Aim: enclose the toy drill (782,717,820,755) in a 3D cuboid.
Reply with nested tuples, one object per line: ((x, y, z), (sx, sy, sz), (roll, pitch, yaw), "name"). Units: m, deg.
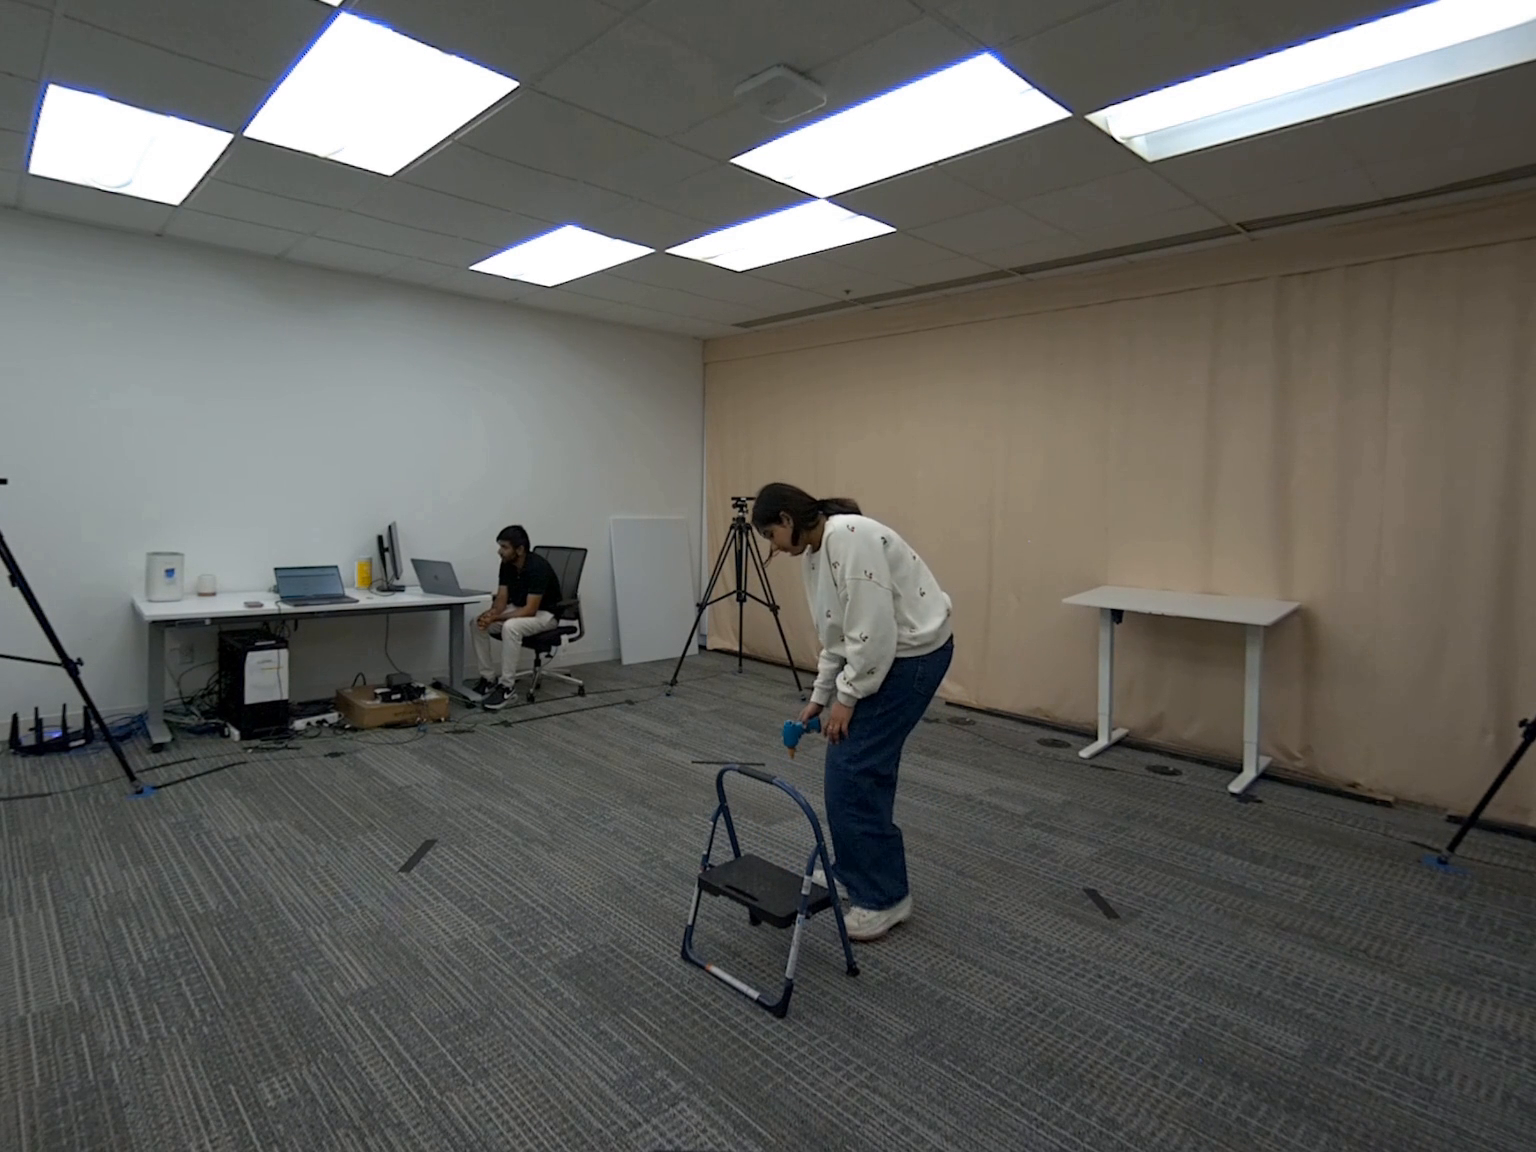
((0.120, 0.584, 3.015), (0.145, 0.168, 0.062), (-13, 15, -11), "toy drill")
